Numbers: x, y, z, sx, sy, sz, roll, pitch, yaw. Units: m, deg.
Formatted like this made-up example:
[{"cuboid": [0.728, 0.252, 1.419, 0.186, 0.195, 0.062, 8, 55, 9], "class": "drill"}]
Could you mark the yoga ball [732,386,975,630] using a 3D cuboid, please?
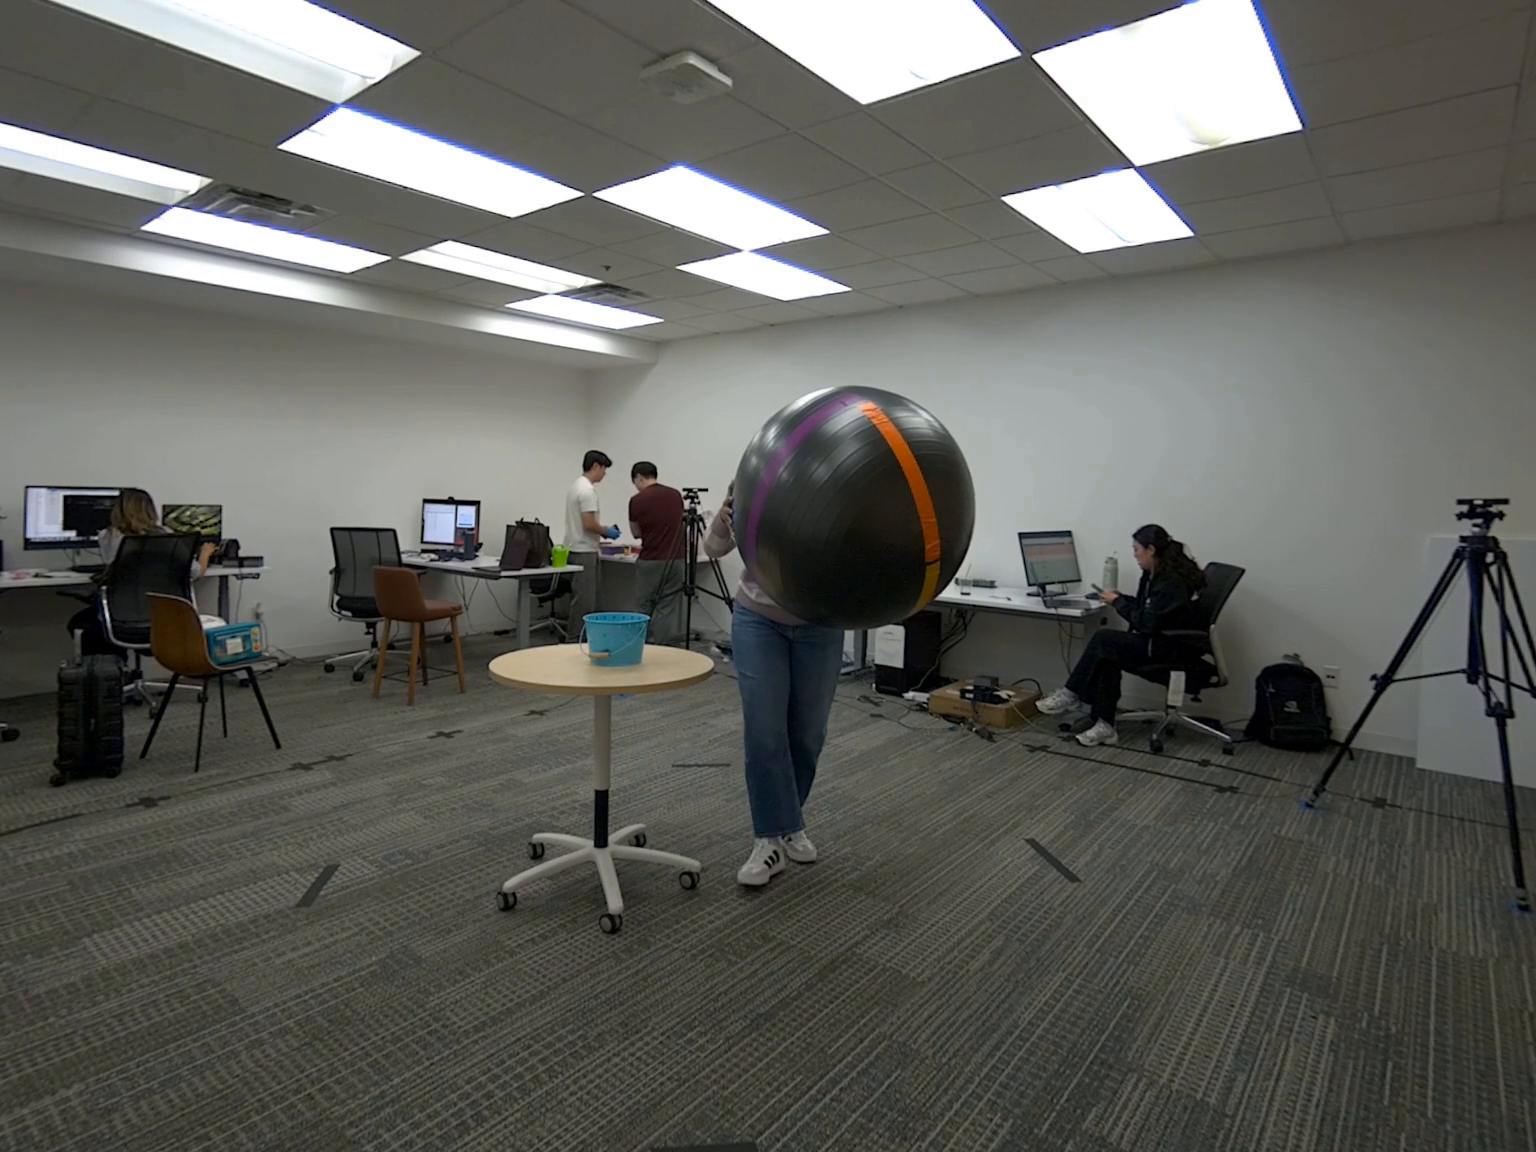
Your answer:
[{"cuboid": [0.250, -0.209, 2.665, 0.757, 0.755, 0.762, 1, 4, -2], "class": "yoga ball"}]
